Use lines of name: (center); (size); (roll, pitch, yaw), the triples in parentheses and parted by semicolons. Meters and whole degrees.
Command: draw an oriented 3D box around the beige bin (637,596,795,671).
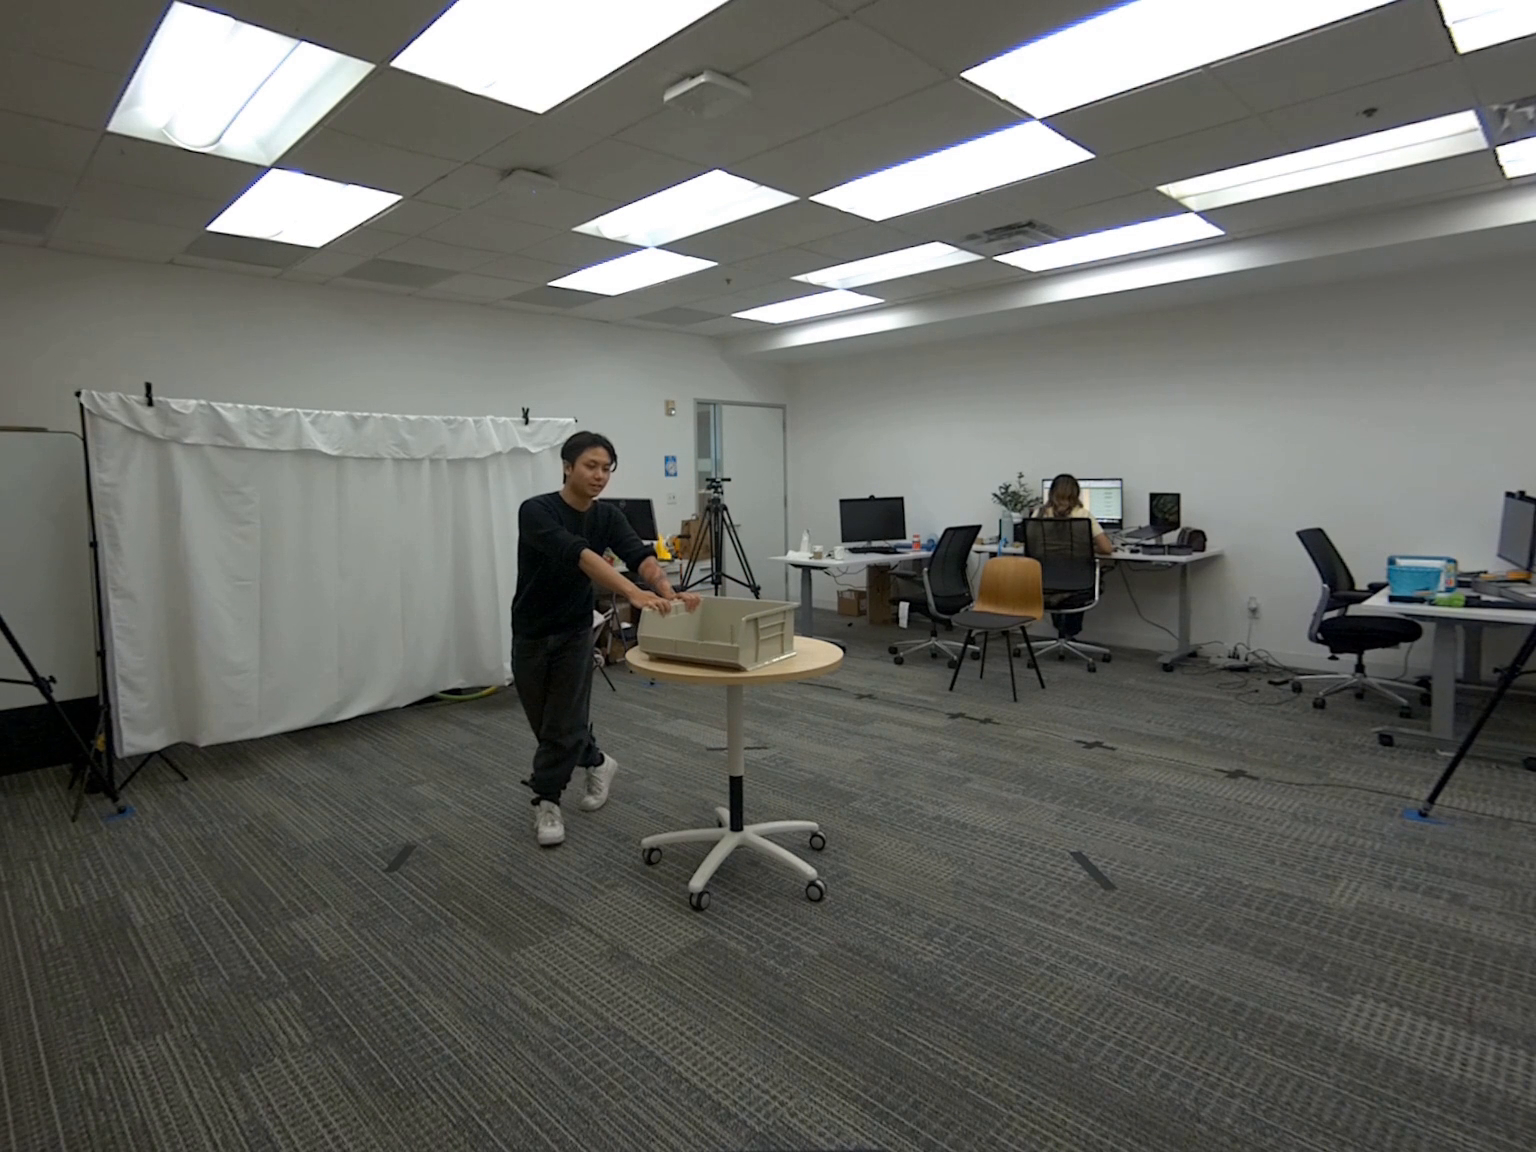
beige bin: (-0.166, 0.189, 2.924); (0.434, 0.188, 0.367); (2, 4, 34)
